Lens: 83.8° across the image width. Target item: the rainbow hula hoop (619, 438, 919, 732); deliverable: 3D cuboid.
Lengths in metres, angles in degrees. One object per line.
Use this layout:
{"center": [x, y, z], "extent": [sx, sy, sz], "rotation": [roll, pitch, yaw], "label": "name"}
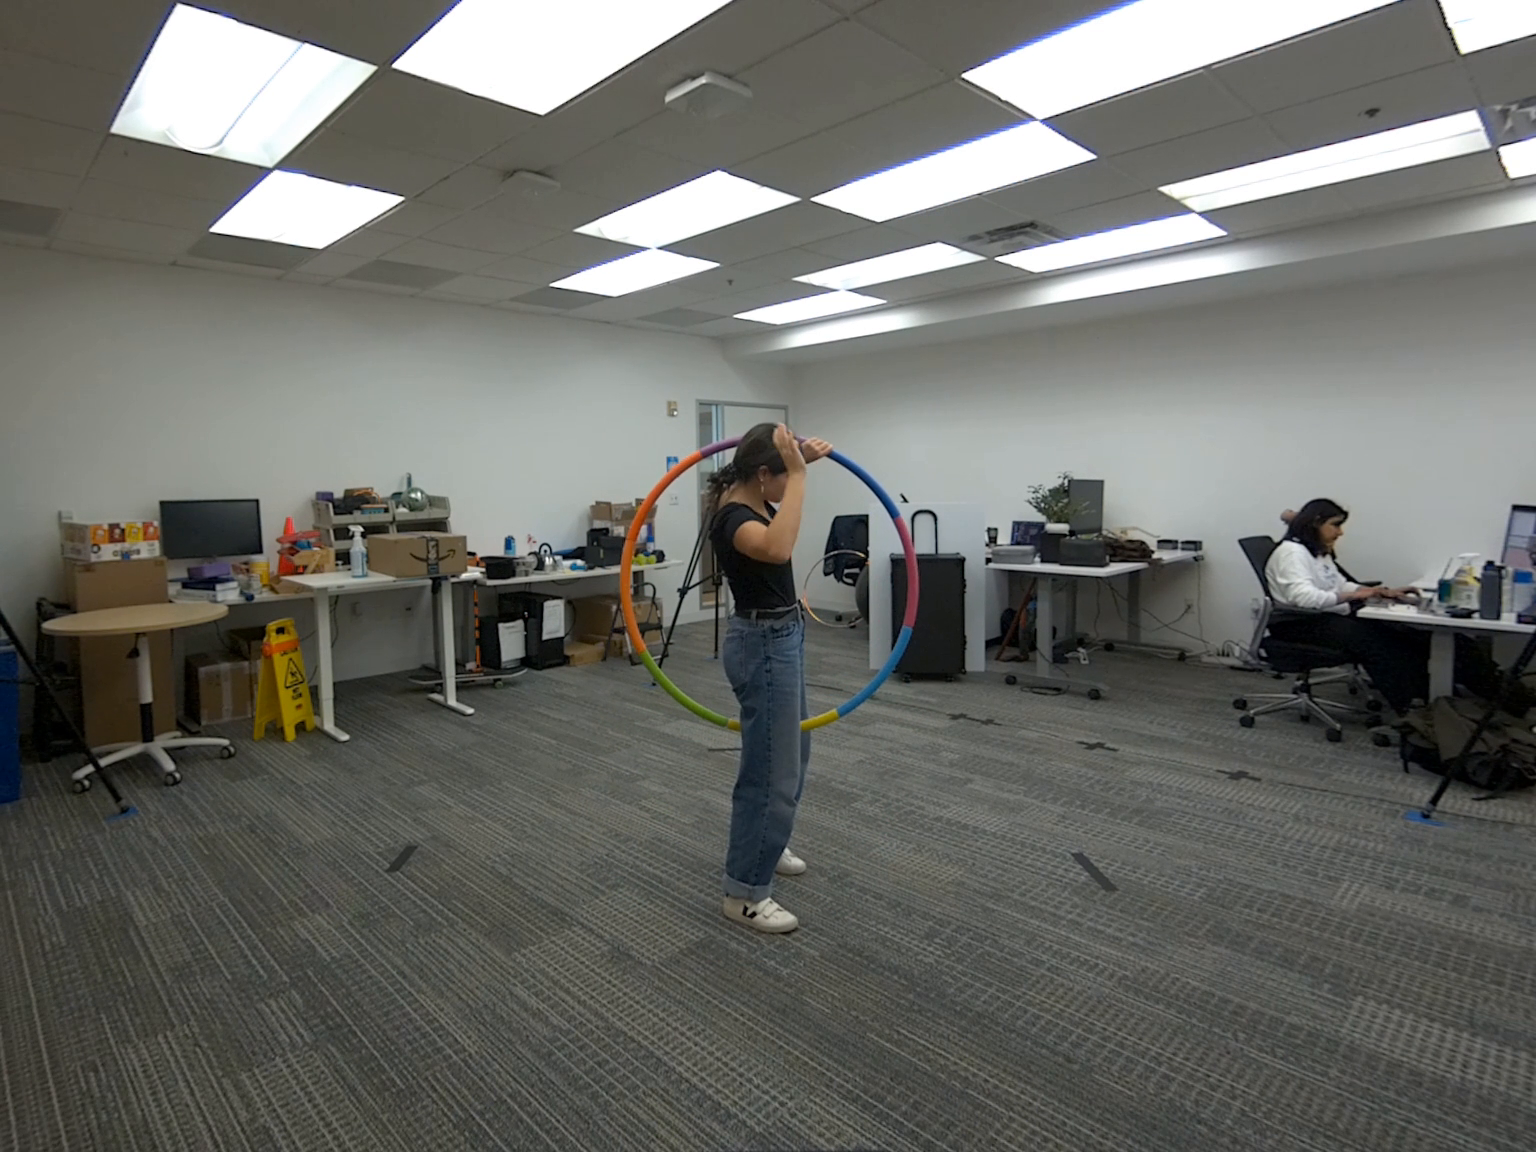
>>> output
{"center": [-0.002, 0.024, 2.818], "extent": [0.980, 0.978, 0.035], "rotation": [-1, 0, 1], "label": "rainbow hula hoop"}
